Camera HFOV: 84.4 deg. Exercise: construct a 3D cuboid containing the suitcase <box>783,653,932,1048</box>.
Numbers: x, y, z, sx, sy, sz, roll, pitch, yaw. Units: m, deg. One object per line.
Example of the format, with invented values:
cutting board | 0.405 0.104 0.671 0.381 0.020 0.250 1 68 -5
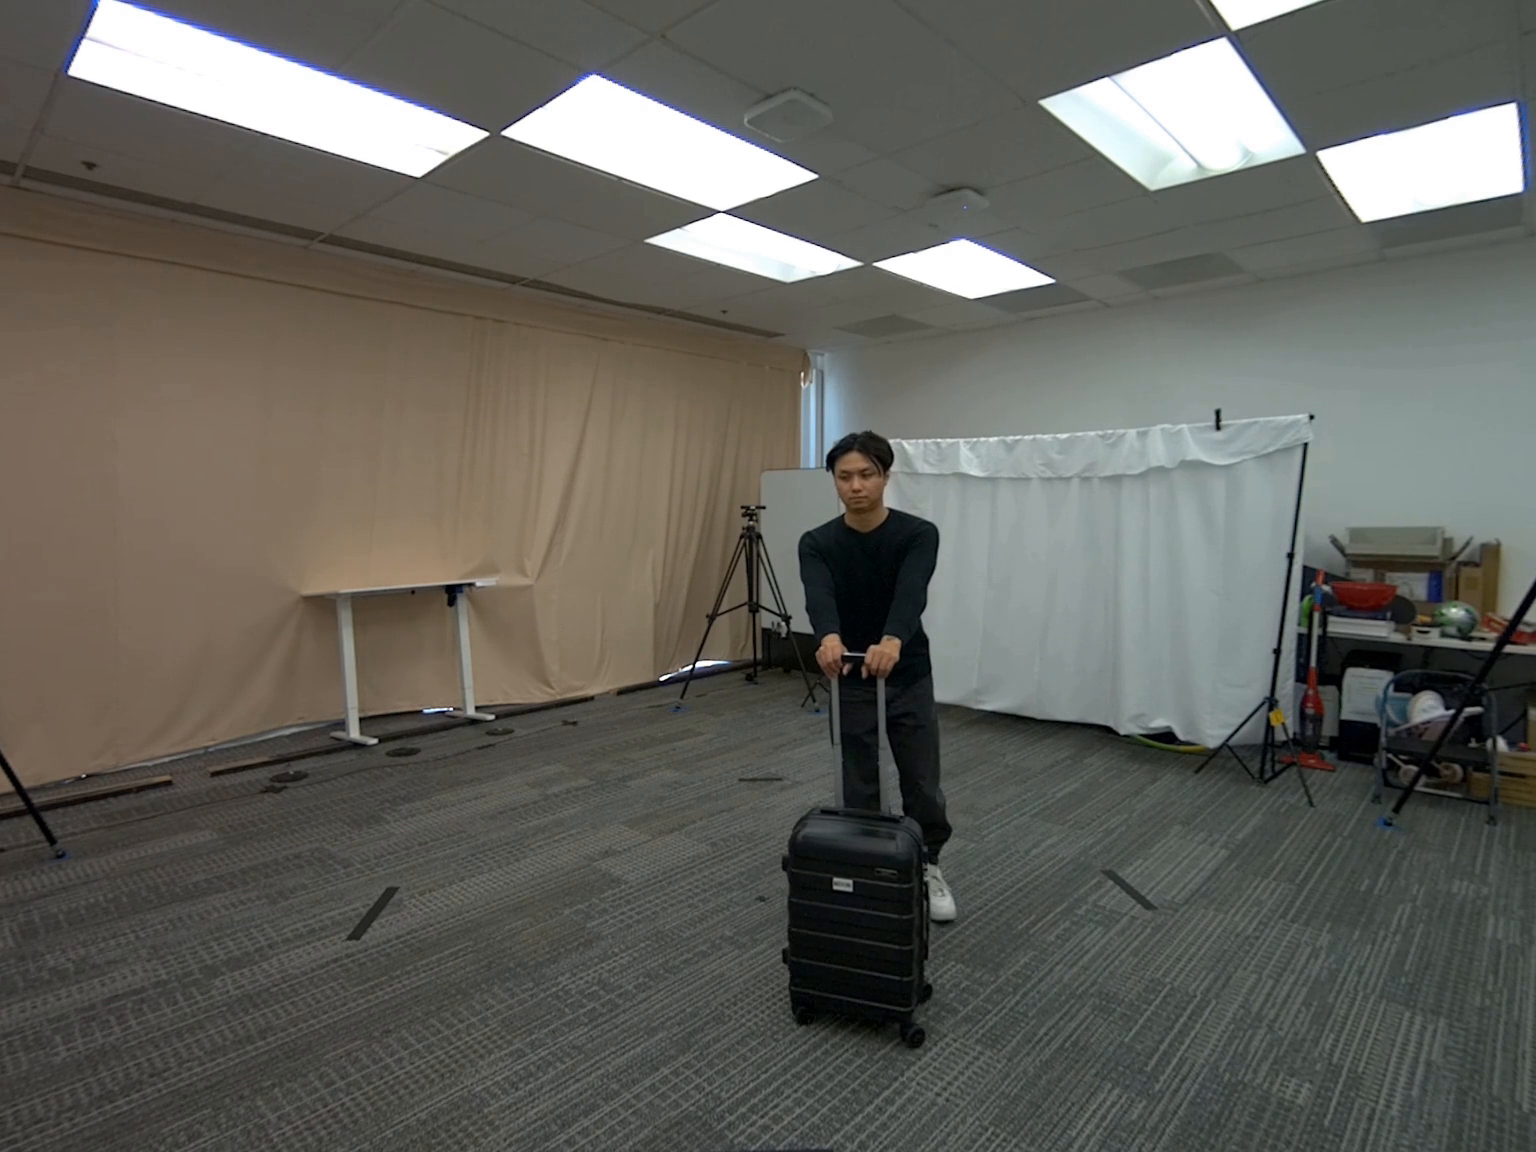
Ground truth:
suitcase | 0.243 0.730 2.281 0.392 0.975 0.253 0 5 19
